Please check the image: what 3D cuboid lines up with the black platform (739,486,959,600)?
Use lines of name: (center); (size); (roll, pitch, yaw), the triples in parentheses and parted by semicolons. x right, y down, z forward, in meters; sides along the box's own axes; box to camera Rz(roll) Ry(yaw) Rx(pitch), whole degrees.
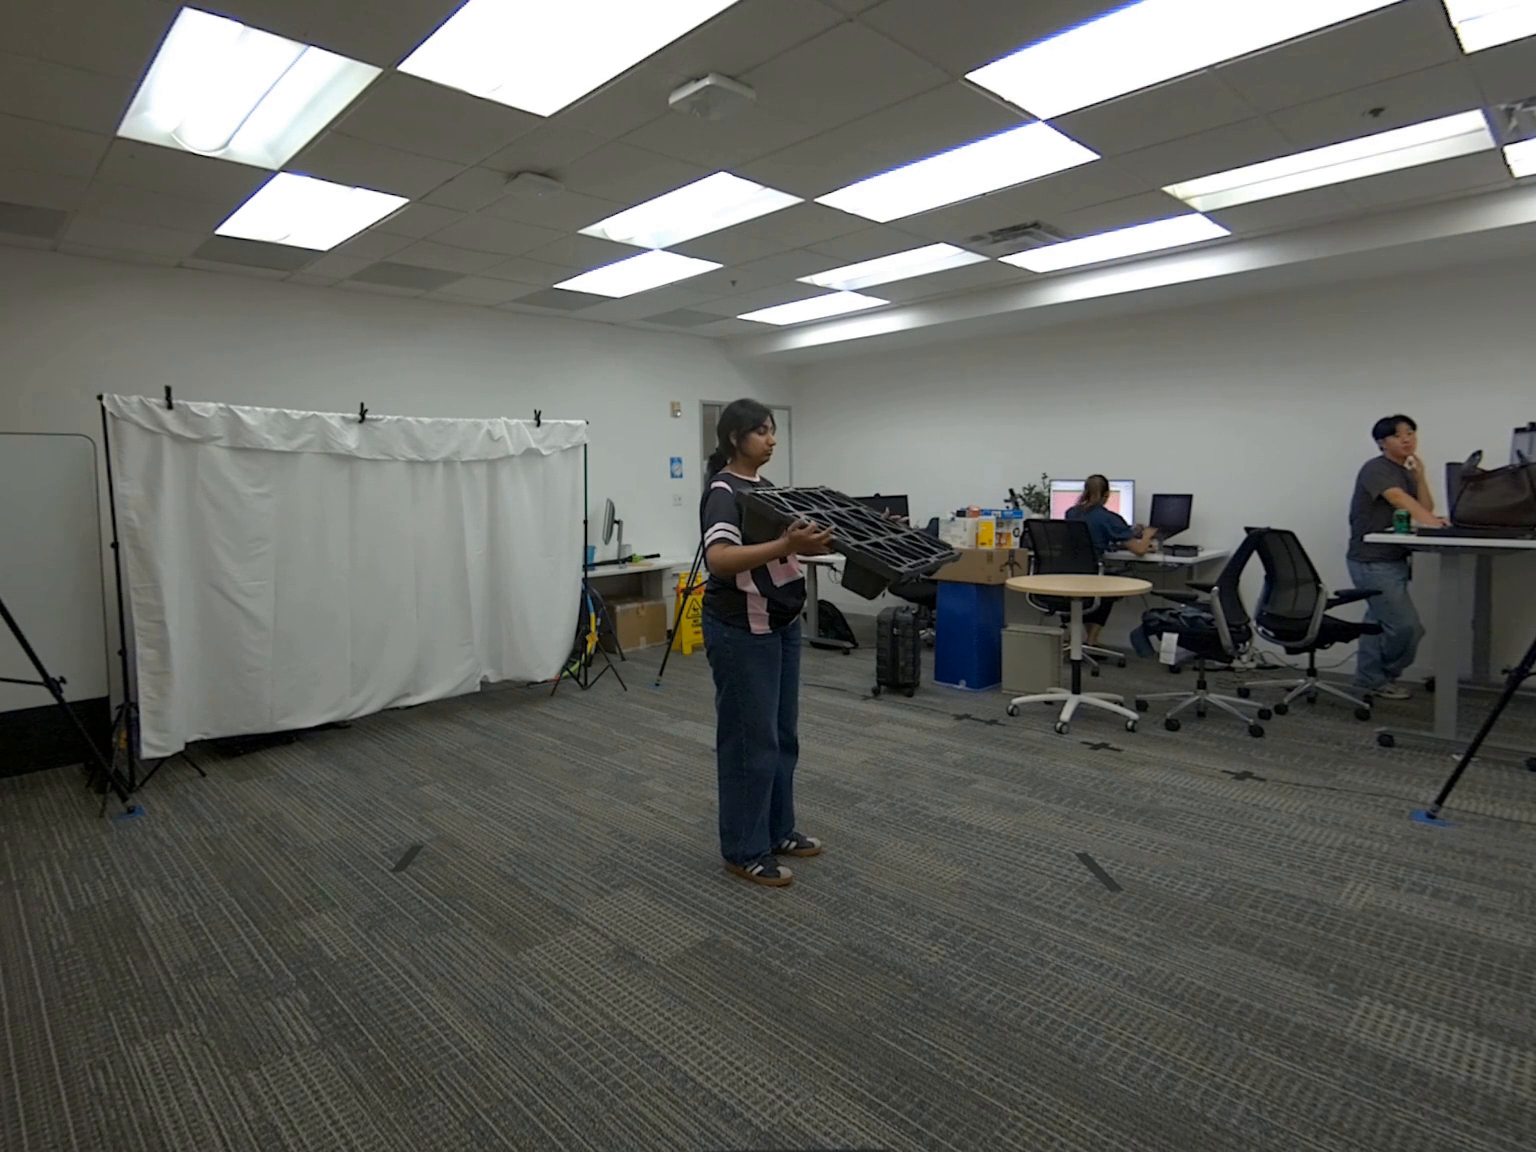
black platform: (0.278, -0.129, 2.949); (0.622, 0.142, 0.789); (28, 16, 22)
